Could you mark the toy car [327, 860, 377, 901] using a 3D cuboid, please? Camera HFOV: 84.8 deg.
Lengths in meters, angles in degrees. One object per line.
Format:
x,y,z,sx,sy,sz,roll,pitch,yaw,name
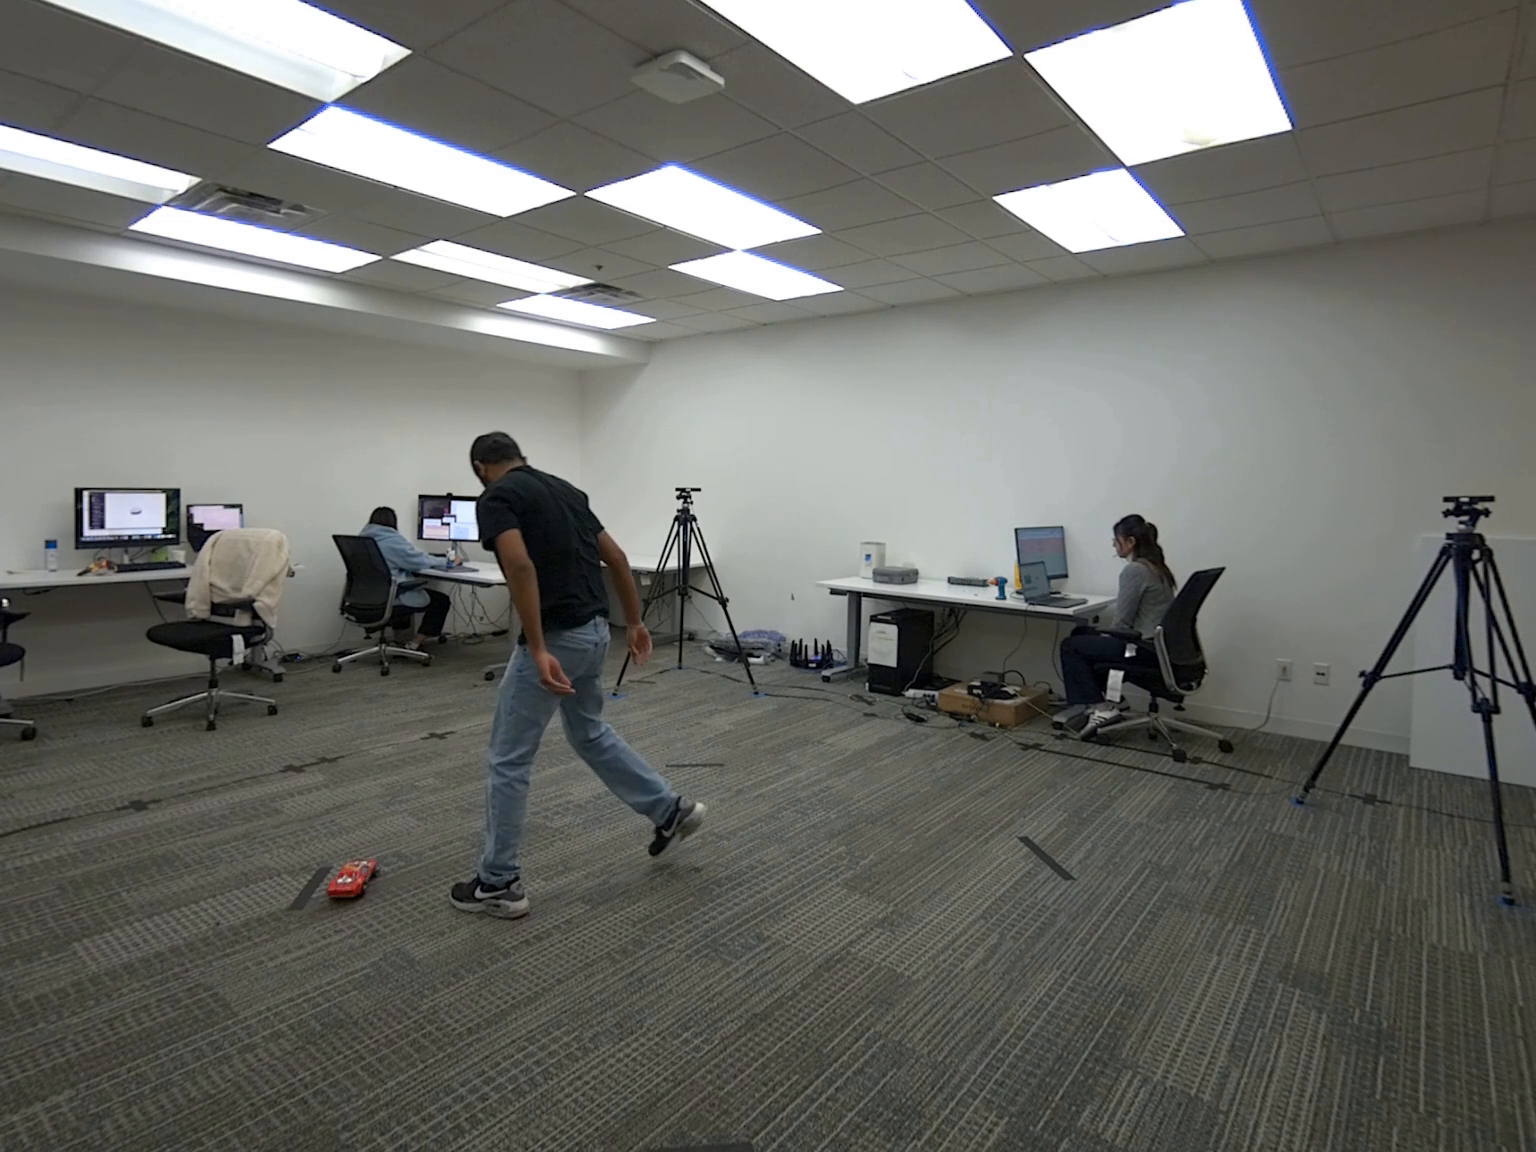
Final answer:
-1.439,1.041,2.923,0.129,0.084,0.255,1,-5,-8,toy car
